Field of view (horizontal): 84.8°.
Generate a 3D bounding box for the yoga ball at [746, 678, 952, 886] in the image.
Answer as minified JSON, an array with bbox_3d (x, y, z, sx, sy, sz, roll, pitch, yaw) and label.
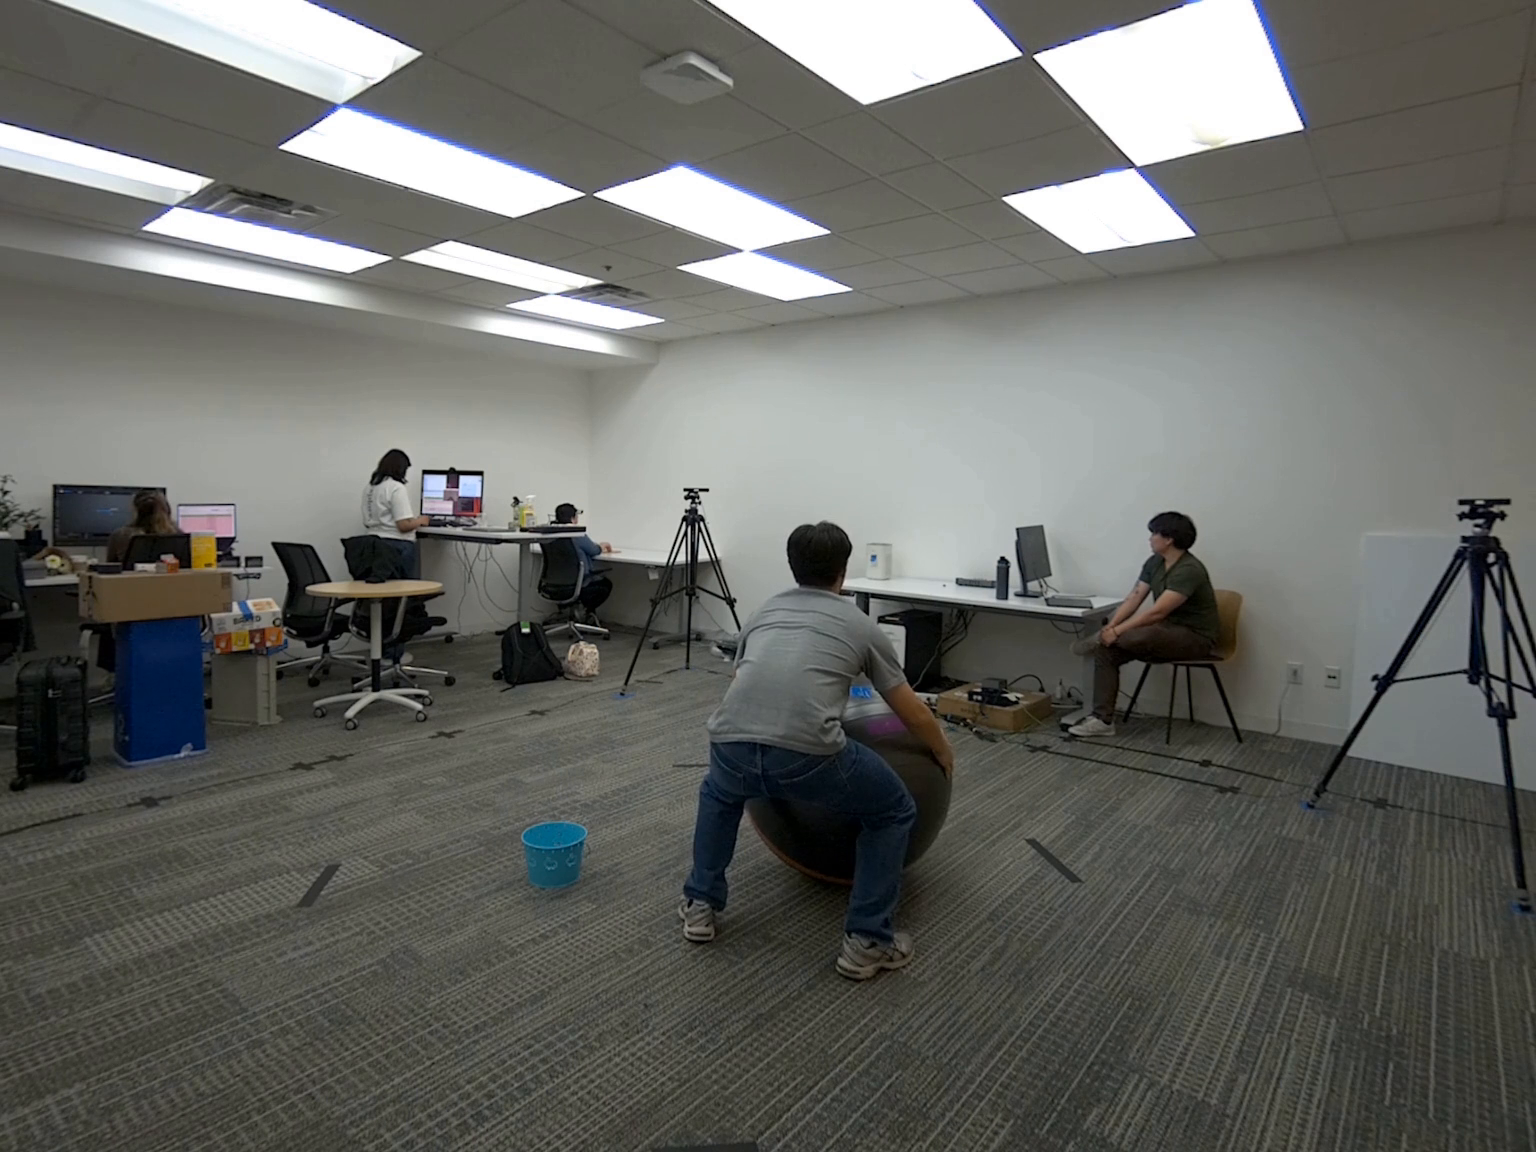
[{"bbox_3d":[0.269,0.693,3.084,0.757,0.755,0.762,1,4,-2],"label":"yoga ball"}]
